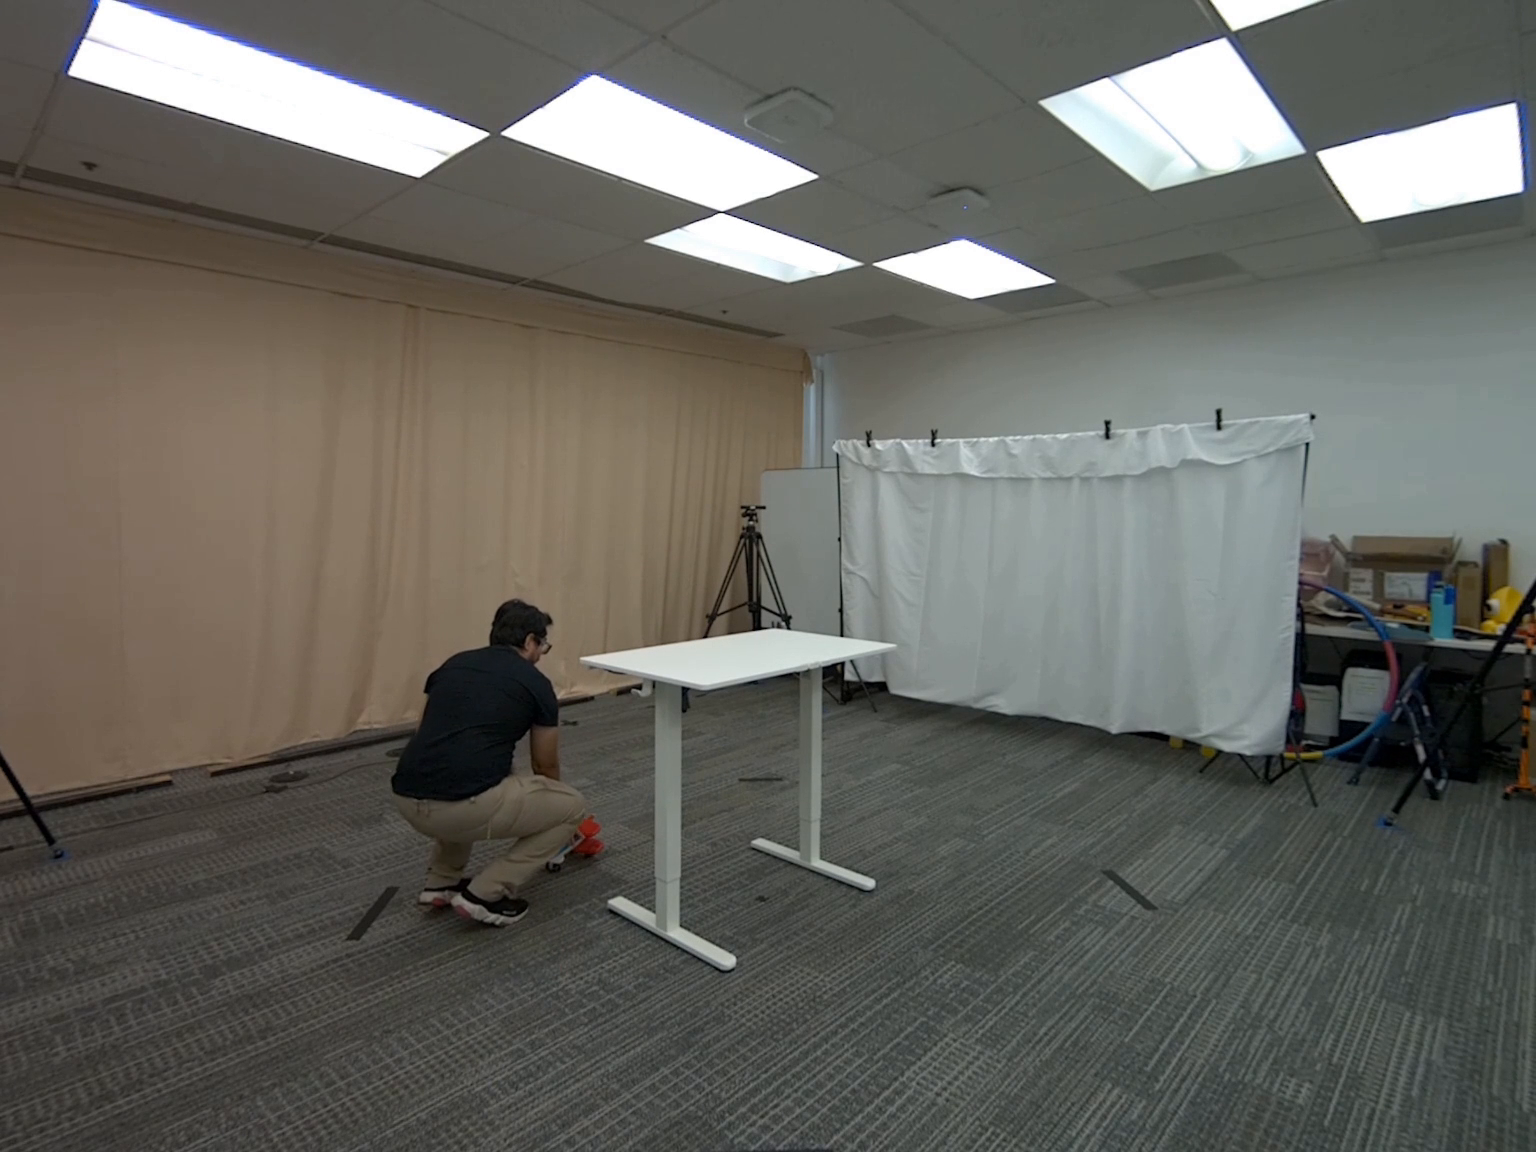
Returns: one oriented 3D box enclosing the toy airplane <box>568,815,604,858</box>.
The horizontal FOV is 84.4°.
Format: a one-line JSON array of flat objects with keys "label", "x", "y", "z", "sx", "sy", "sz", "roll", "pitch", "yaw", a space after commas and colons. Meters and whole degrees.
[{"label": "toy airplane", "x": -0.769, "y": 1.049, "z": 3.302, "sx": 0.251, "sy": 0.156, "sz": 0.260, "roll": -1, "pitch": 3, "yaw": -1}]
